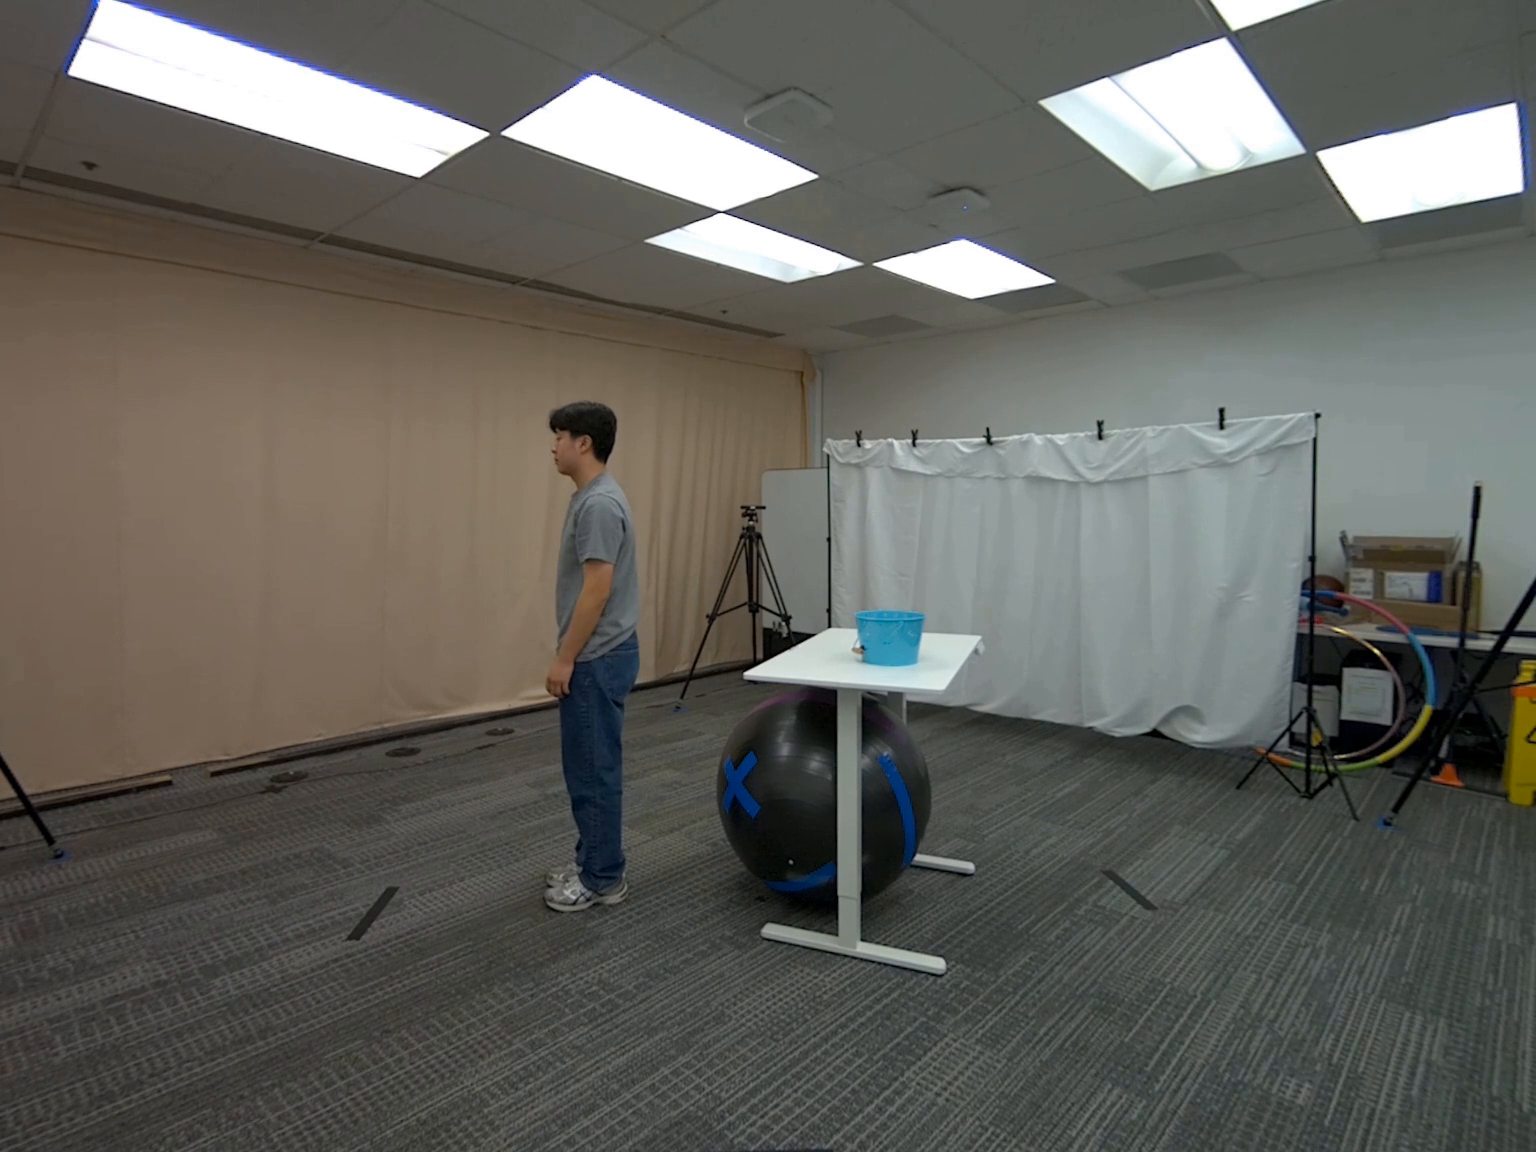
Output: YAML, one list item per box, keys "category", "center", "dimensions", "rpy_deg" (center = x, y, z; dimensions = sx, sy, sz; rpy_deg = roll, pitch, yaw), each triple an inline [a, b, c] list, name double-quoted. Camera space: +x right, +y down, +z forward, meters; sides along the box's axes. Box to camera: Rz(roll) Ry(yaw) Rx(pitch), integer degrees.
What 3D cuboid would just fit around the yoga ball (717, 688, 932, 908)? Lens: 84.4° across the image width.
- category: "yoga ball"
  center: [0.196, 0.763, 3.011]
  dimensions: [0.757, 0.756, 0.760]
  rpy_deg: [0, 4, -2]
